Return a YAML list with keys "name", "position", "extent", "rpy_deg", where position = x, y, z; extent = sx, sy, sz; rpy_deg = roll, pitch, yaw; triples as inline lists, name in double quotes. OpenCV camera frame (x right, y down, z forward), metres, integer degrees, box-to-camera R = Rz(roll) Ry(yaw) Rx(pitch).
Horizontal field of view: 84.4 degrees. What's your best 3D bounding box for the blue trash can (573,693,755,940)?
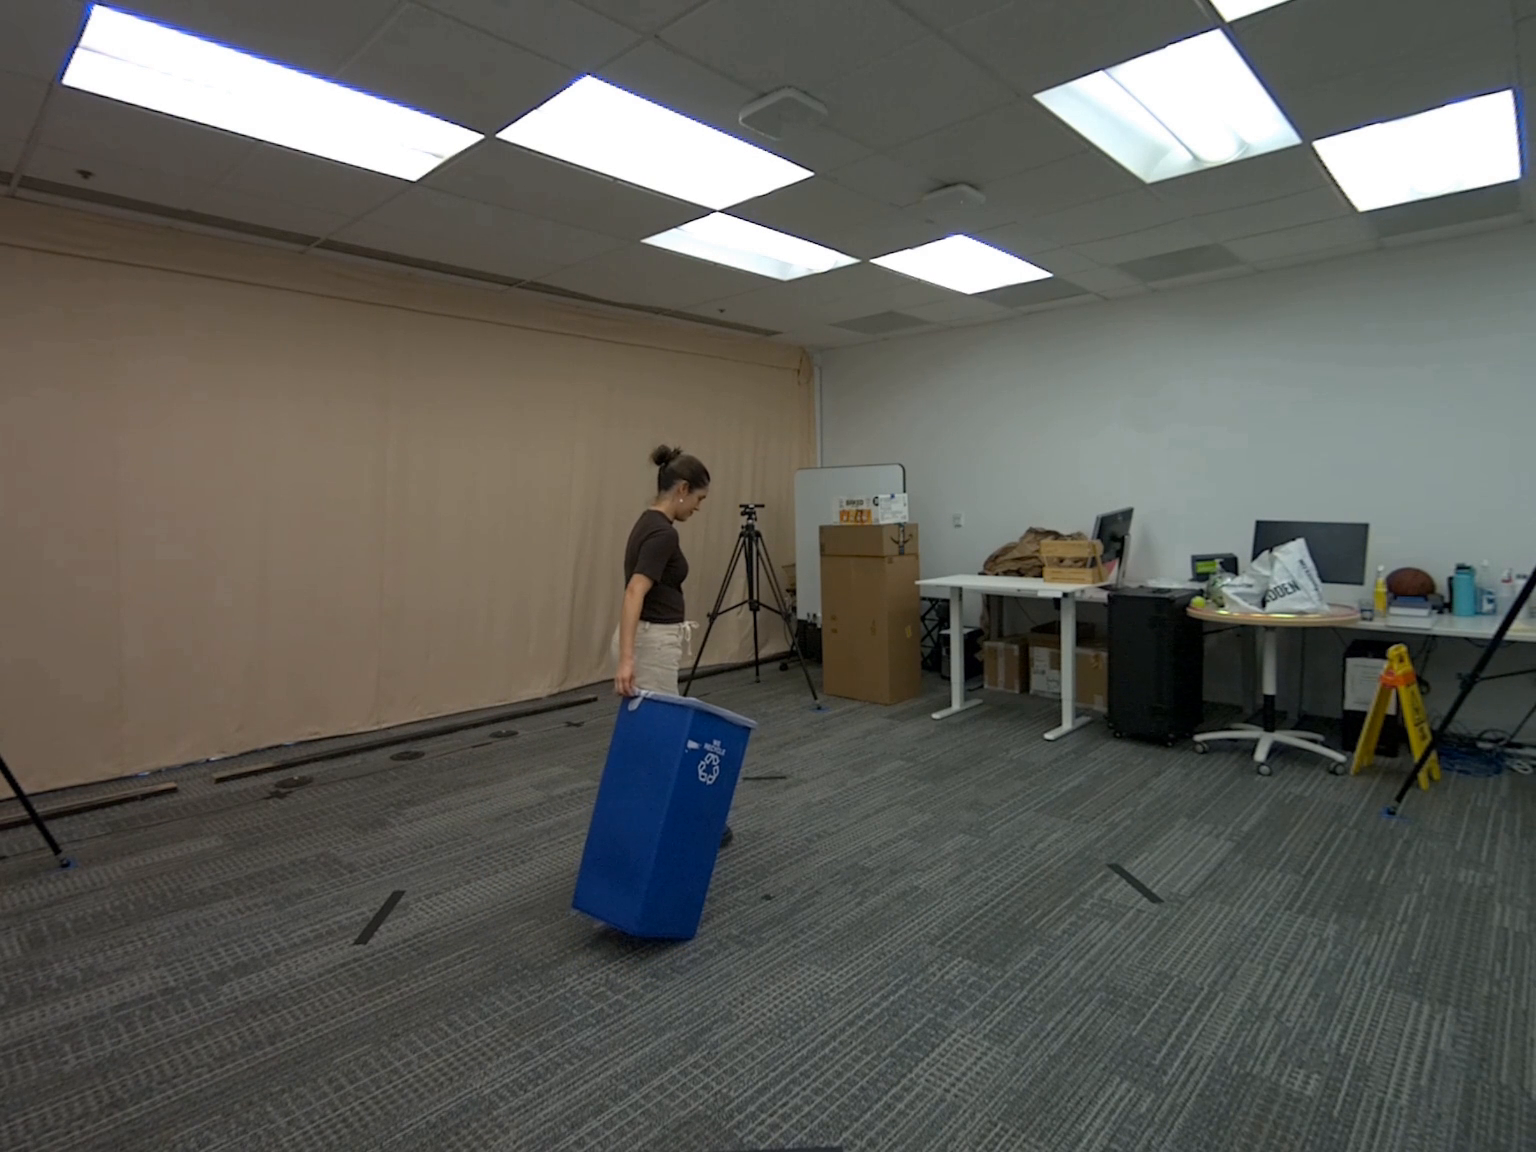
- name: "blue trash can"
  position: [-0.345, 0.780, 2.798]
  extent: [0.390, 0.717, 0.360]
  rpy_deg: [2, -18, 38]
